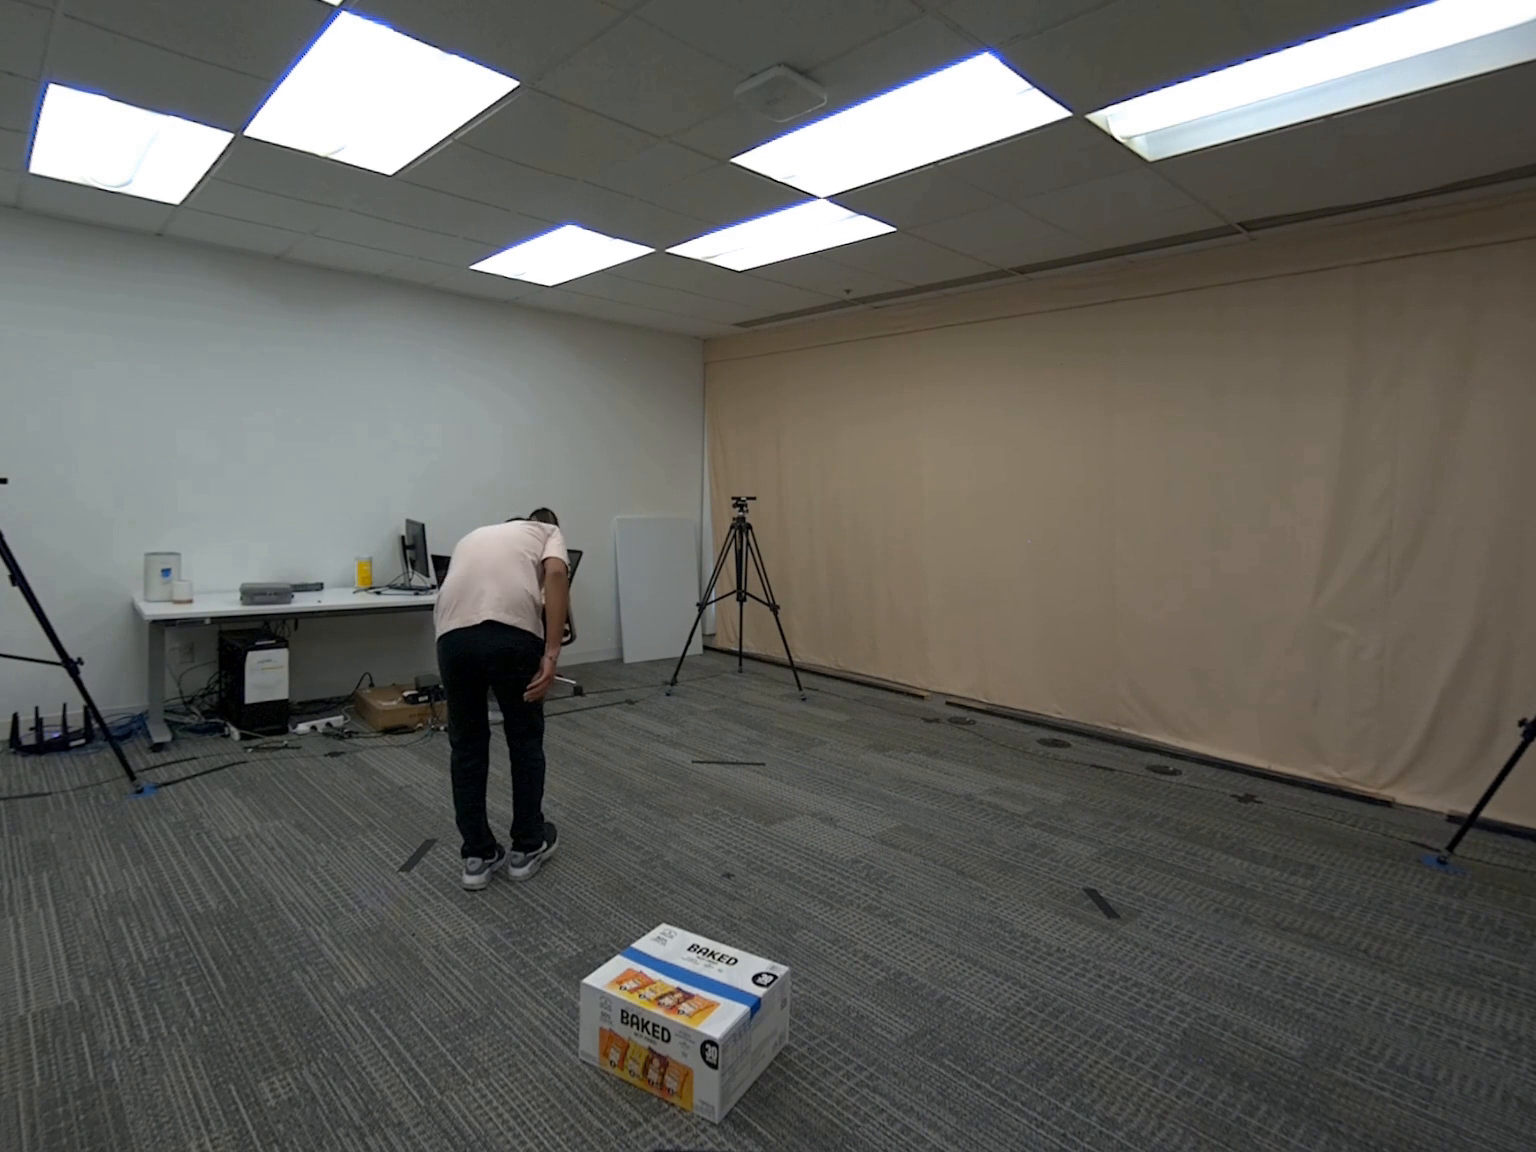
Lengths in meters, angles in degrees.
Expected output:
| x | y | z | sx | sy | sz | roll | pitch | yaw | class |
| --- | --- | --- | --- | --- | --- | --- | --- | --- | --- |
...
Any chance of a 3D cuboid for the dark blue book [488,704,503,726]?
| x | y | z | sx | sy | sz | roll | pitch | yaw | class |
| --- | --- | --- | --- | --- | --- | --- | --- | --- | --- |
| -1.113 | 0.560 | 3.435 | 0.159 | 0.045 | 0.251 | 9 | -3 | -36 | dark blue book |
